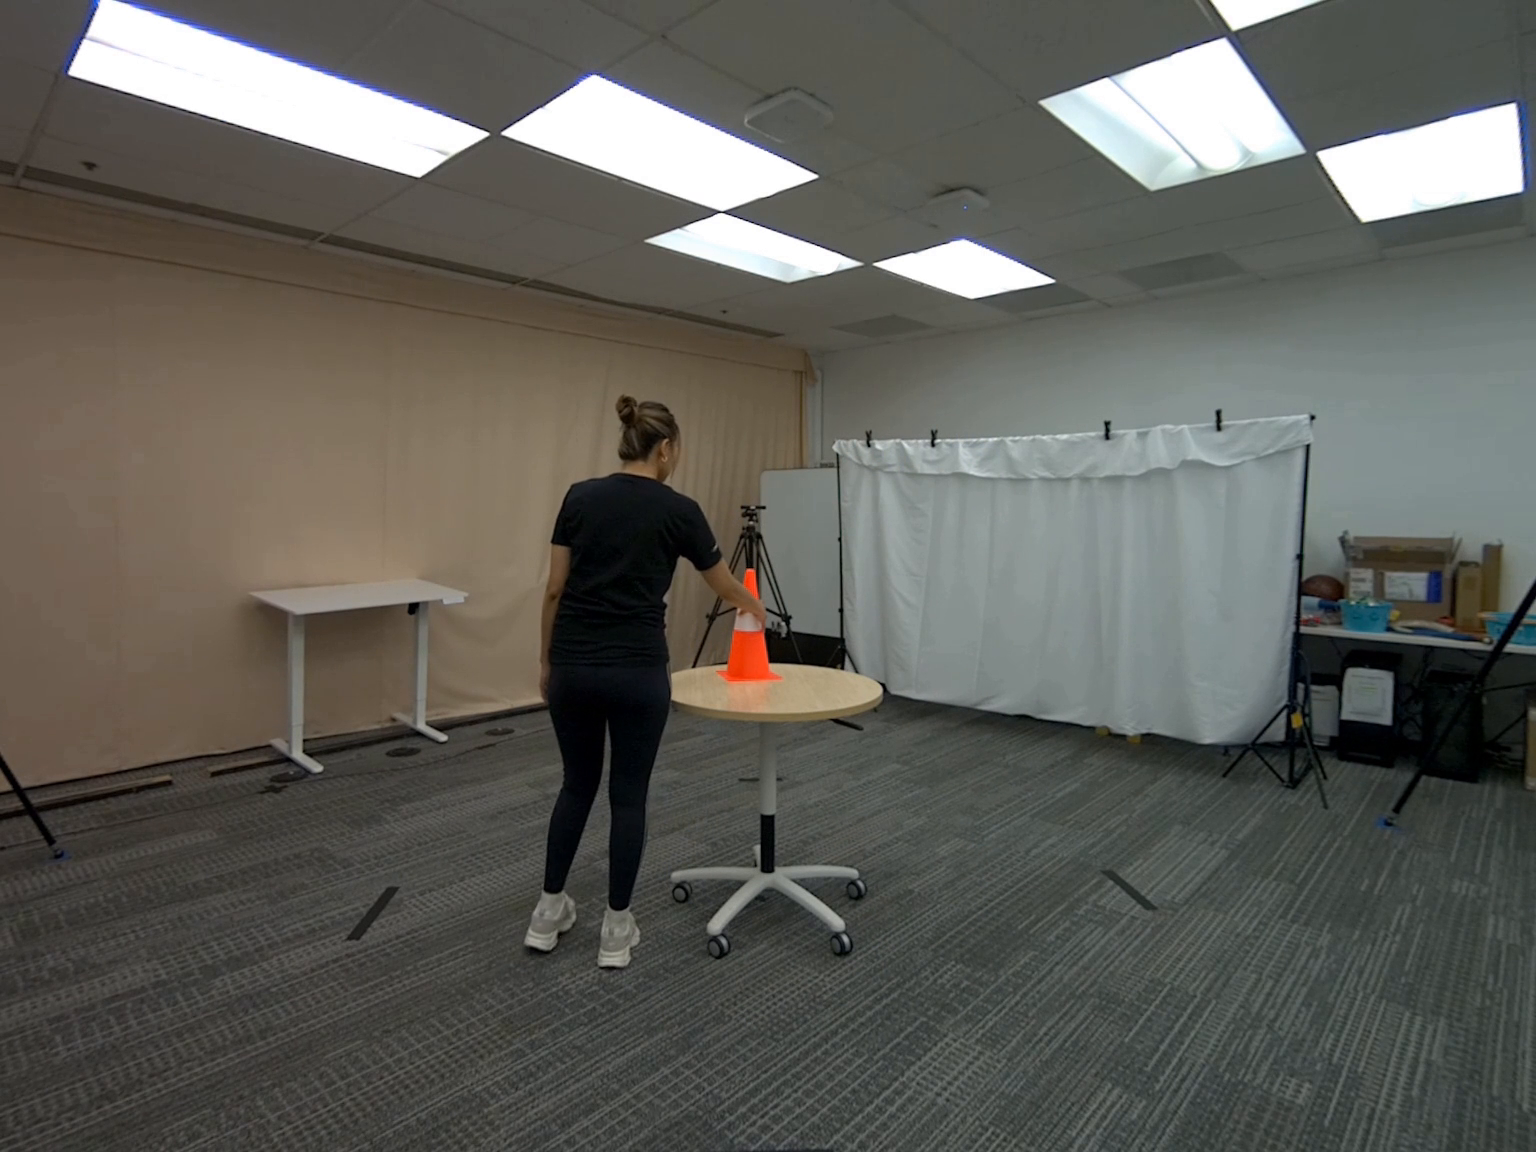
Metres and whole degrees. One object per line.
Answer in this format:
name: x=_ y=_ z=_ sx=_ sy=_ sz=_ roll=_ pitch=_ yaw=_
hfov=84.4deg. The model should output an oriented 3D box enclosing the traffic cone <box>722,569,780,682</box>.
traffic cone: x=-0.076 y=0.170 z=3.004 sx=0.201 sy=0.383 sz=0.208 roll=-4 pitch=3 yaw=-20
